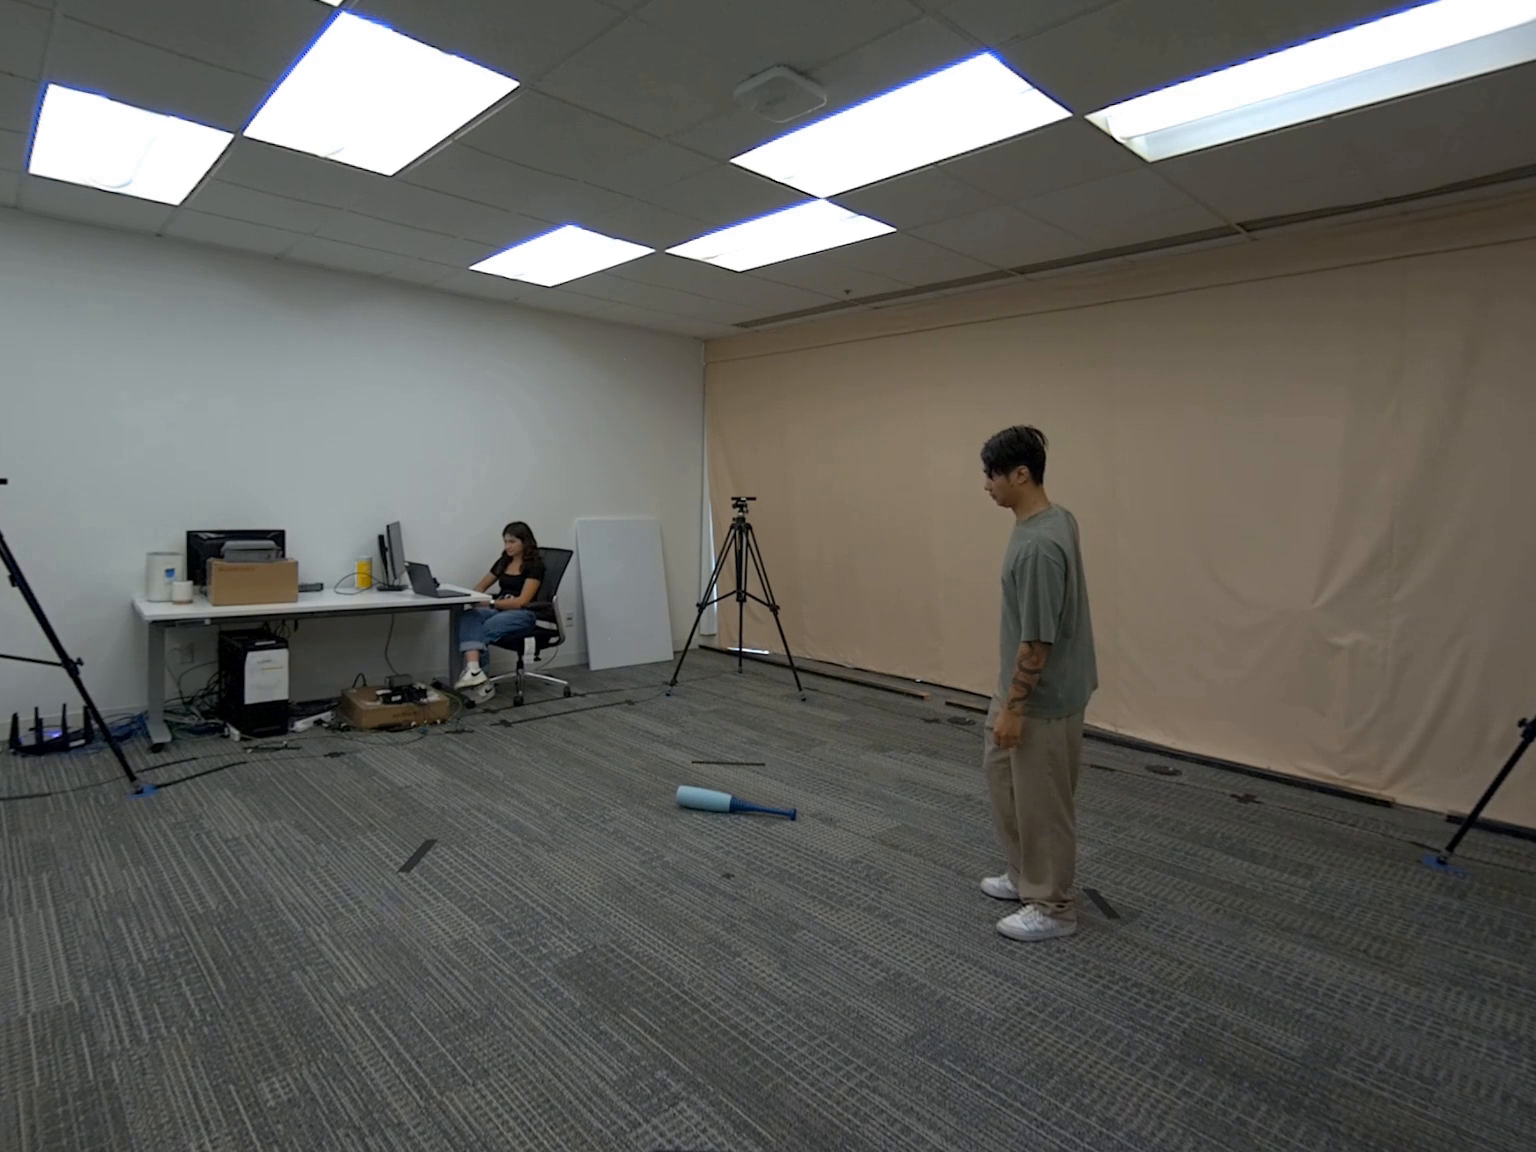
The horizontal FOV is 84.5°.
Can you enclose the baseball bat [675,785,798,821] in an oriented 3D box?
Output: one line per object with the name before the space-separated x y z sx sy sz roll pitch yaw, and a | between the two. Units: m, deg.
baseball bat | -0.153 1.014 3.739 0.549 0.089 0.088 5 5 12
